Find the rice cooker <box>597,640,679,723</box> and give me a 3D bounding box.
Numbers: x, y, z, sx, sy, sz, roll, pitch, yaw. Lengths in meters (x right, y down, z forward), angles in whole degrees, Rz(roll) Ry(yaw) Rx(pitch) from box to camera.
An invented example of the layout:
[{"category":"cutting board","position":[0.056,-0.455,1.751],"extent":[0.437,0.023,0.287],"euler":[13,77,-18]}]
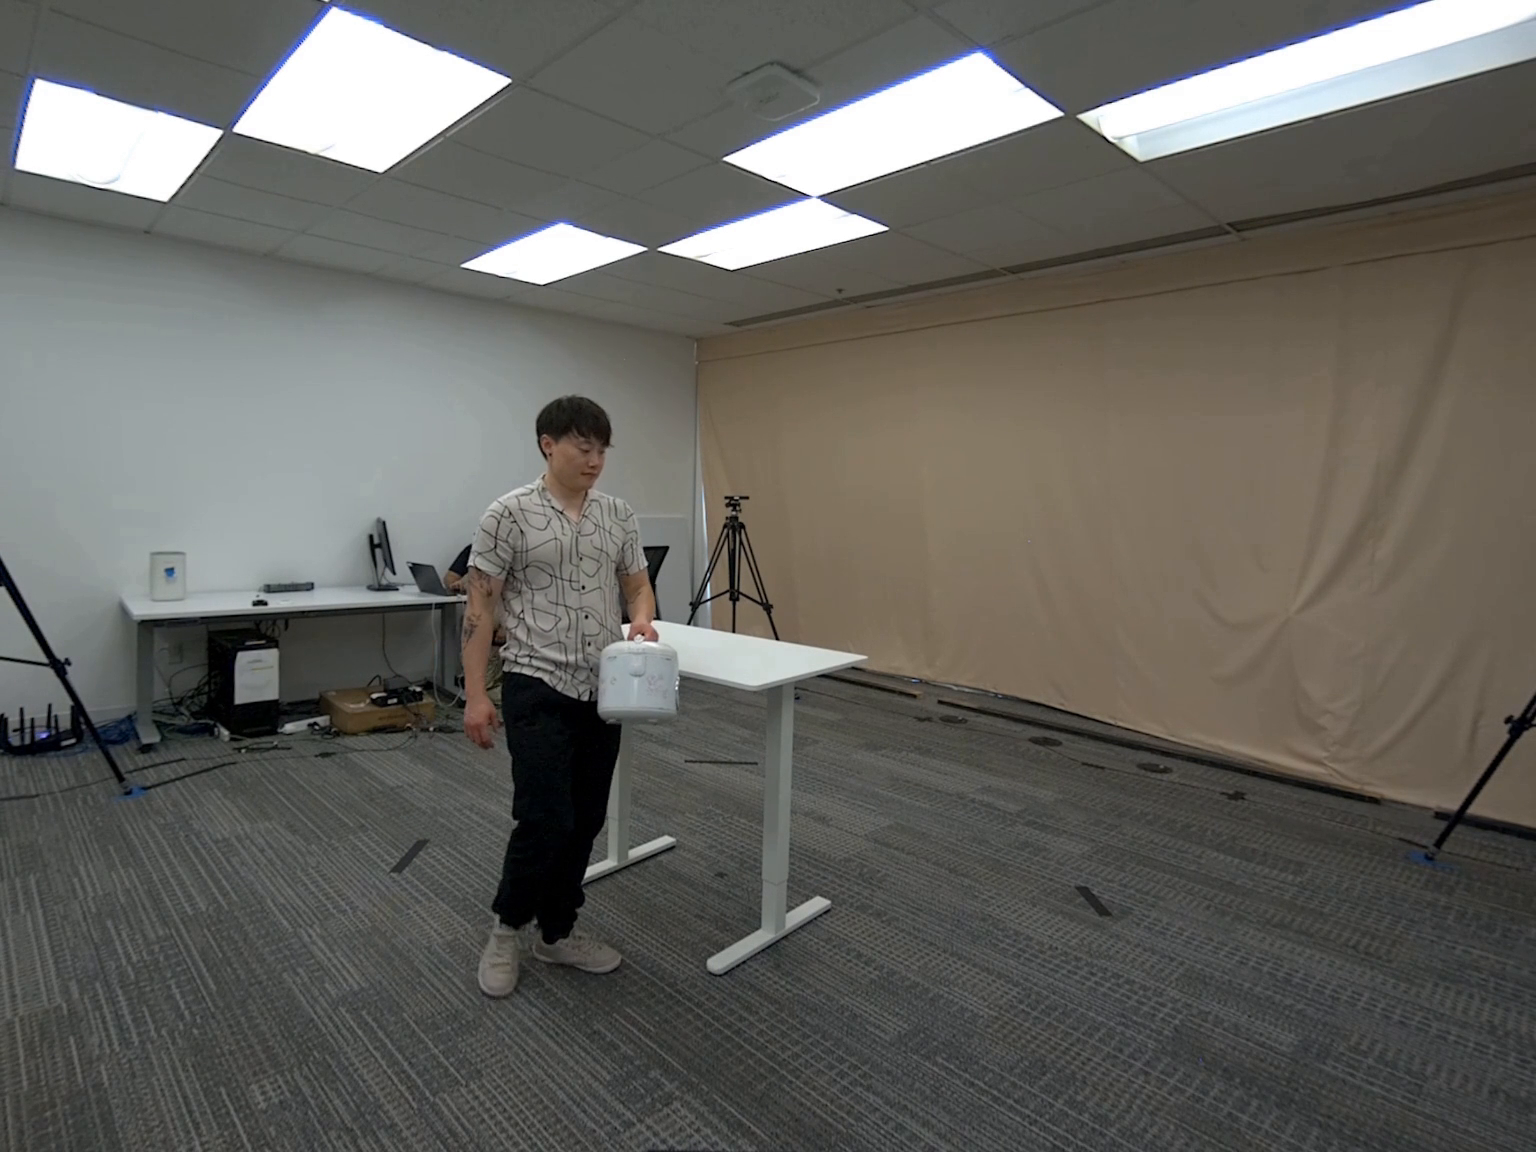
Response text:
[{"category":"rice cooker","position":[-0.362,0.278,2.259],"extent":[0.217,0.235,0.218],"euler":[3,-15,-3]}]
